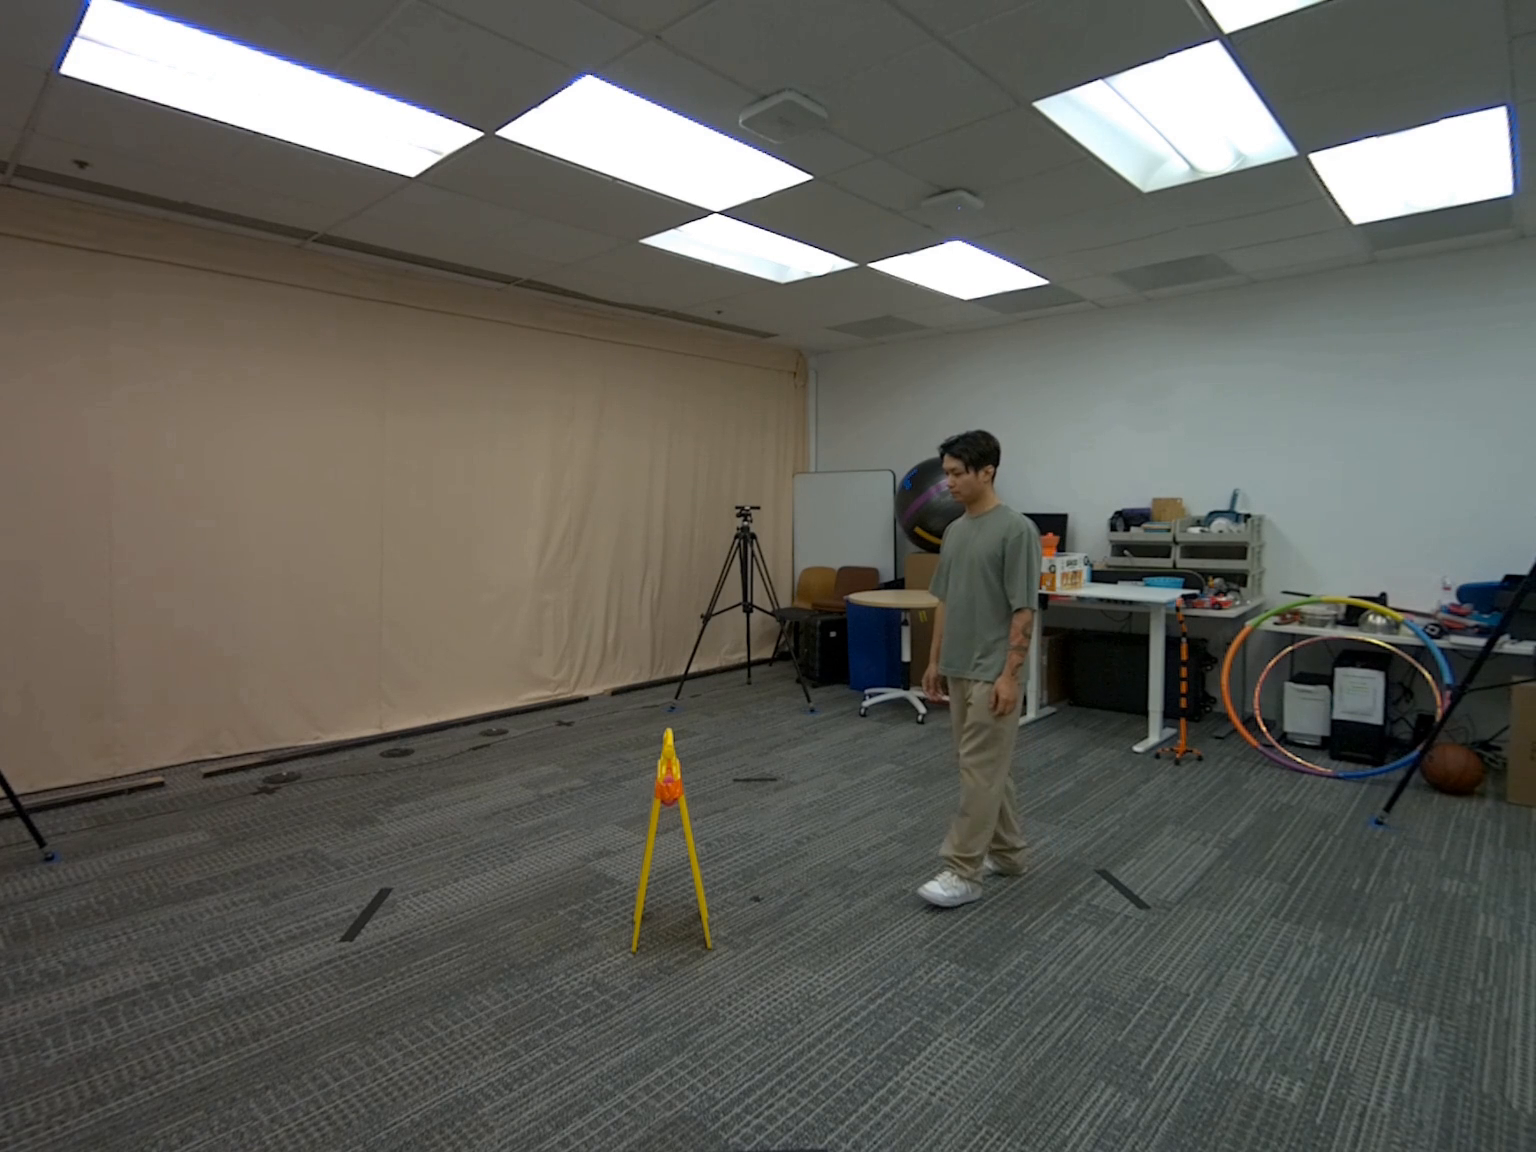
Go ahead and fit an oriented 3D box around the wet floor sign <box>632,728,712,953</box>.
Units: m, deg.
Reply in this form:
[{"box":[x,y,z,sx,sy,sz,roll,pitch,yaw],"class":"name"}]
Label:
[{"box":[-0.316,0.845,2.753,0.288,0.645,0.284,-1,2,-6],"class":"wet floor sign"}]
